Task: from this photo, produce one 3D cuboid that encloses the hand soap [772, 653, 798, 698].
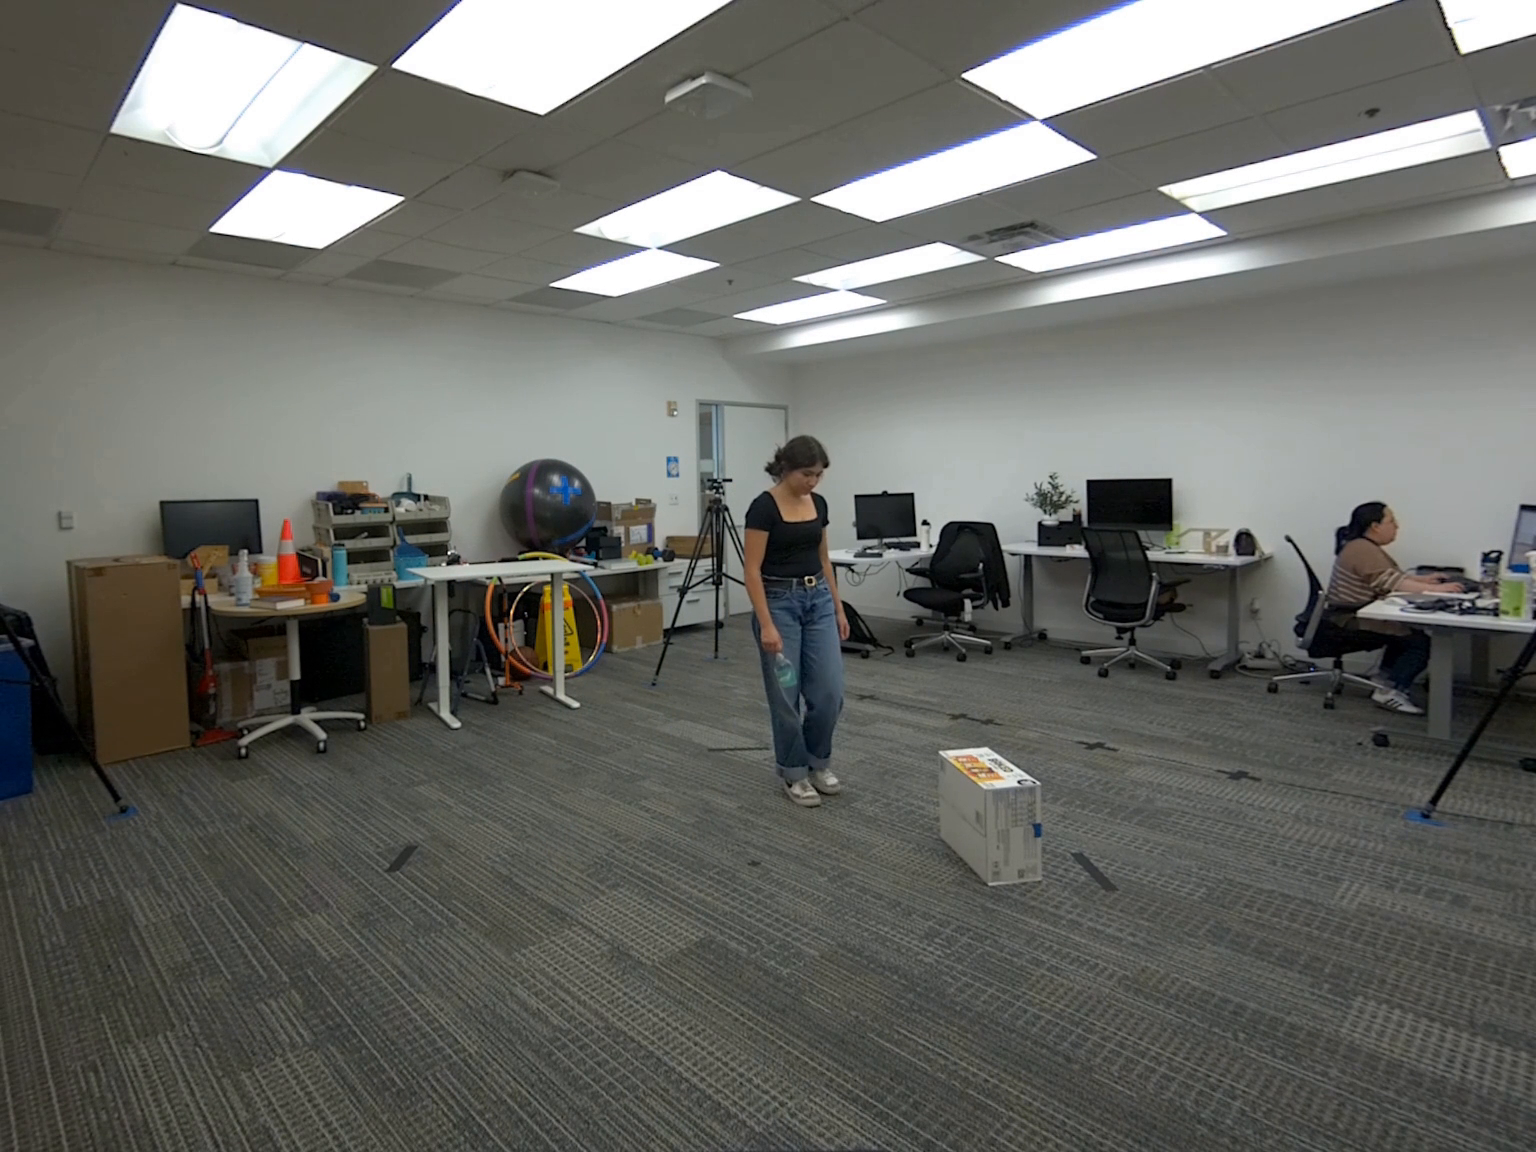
[{"bbox_3d":[0.059,0.367,3.461,0.086,0.167,0.042,-8,4,29],"label":"hand soap"}]
